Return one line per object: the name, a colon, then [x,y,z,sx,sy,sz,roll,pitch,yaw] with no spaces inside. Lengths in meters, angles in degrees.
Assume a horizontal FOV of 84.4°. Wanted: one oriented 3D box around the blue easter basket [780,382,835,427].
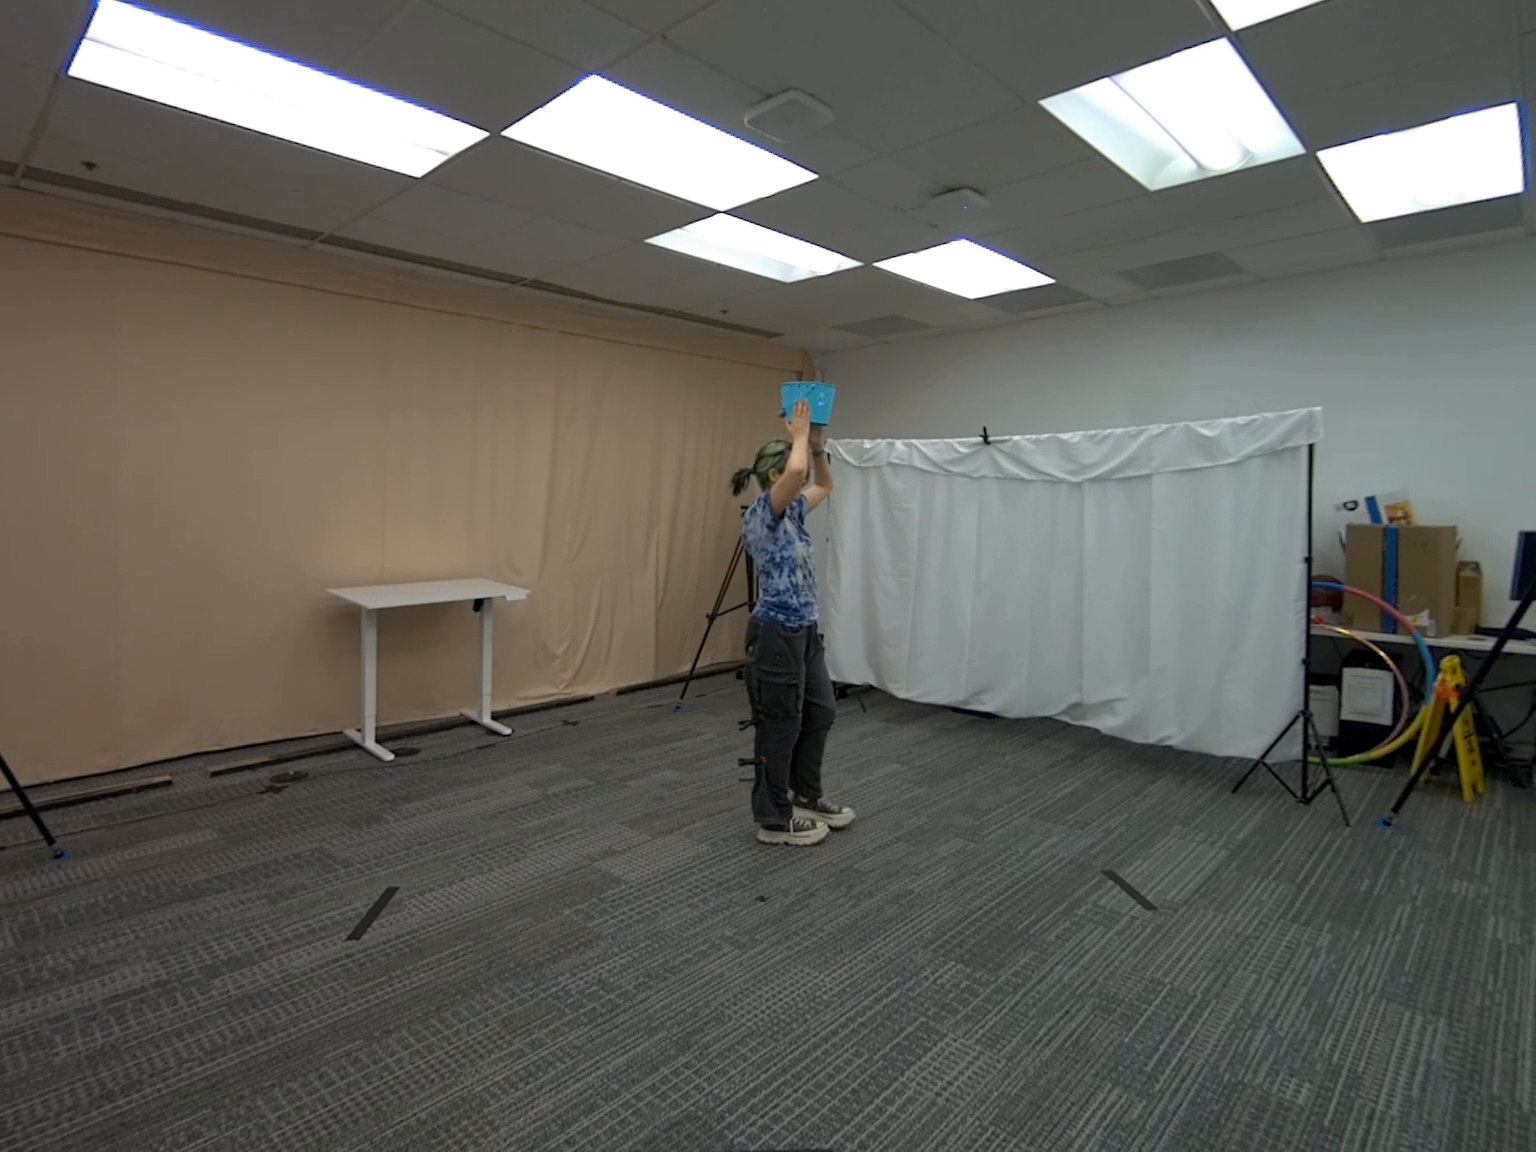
blue easter basket: [0.153,-0.697,3.437,0.243,0.155,0.244,2,4,-2]
